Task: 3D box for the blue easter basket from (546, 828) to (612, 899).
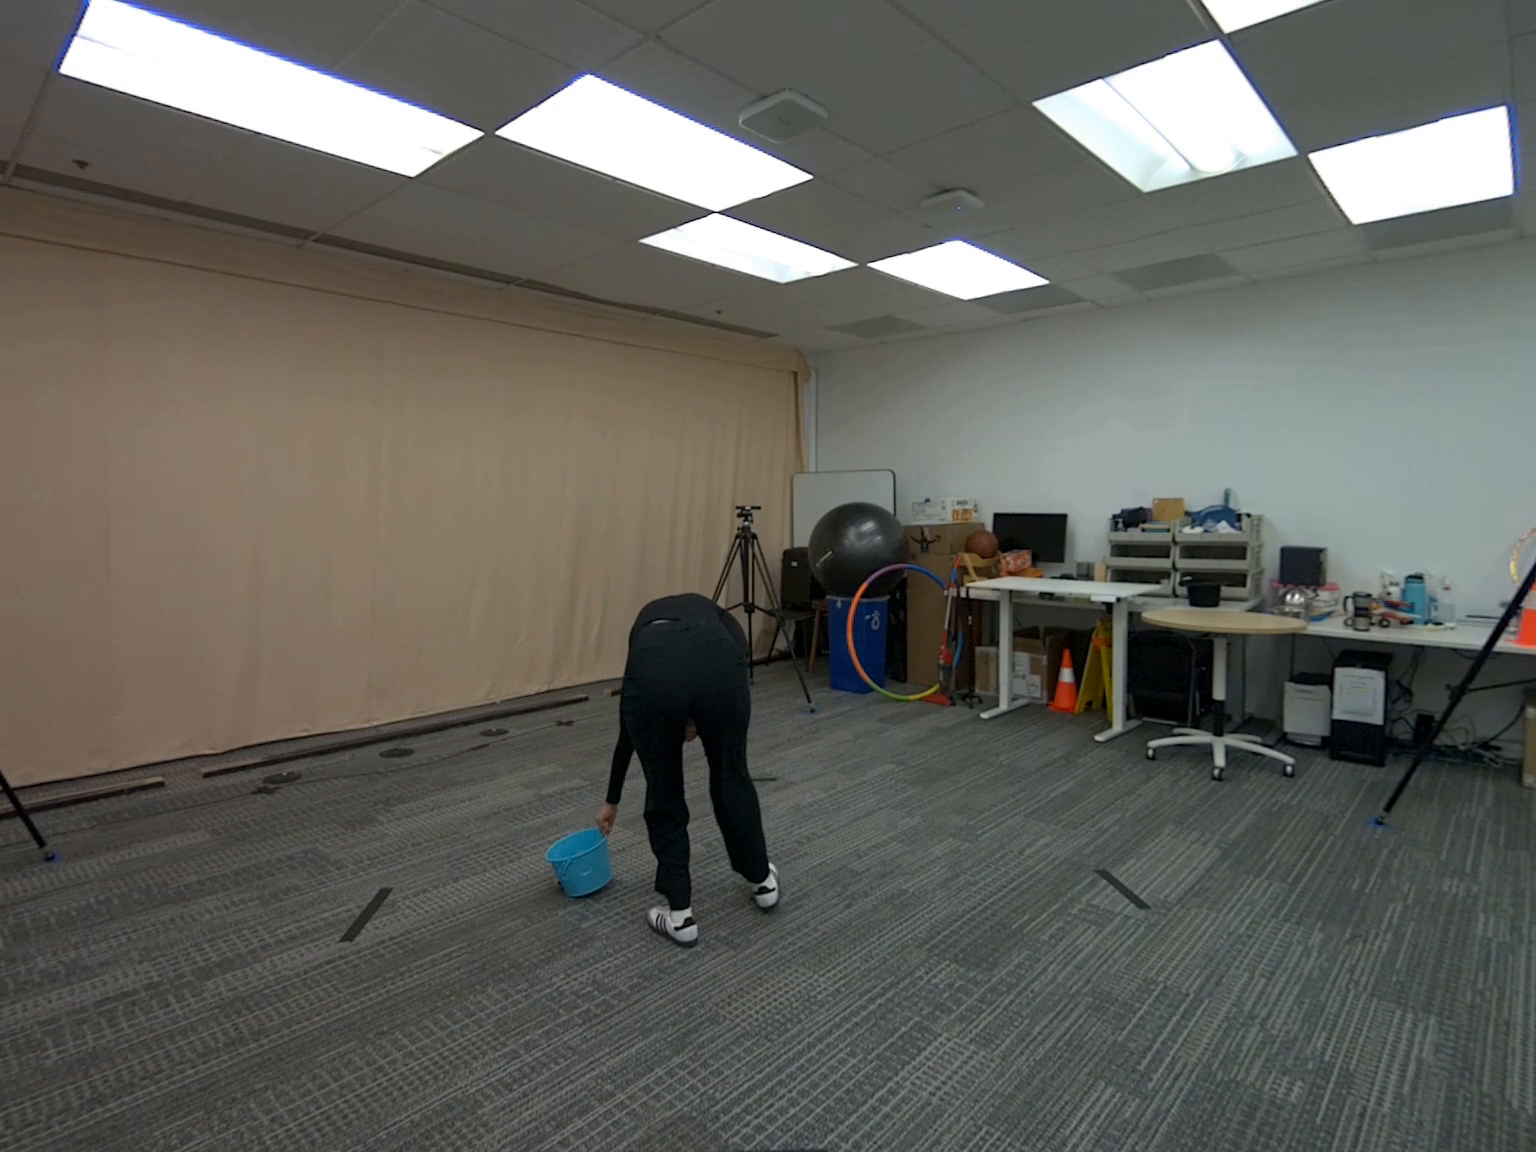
[{"bbox_3d":[-0.682,1.047,3.065,0.244,0.155,0.245,-16,7,0],"label":"blue easter basket"}]
